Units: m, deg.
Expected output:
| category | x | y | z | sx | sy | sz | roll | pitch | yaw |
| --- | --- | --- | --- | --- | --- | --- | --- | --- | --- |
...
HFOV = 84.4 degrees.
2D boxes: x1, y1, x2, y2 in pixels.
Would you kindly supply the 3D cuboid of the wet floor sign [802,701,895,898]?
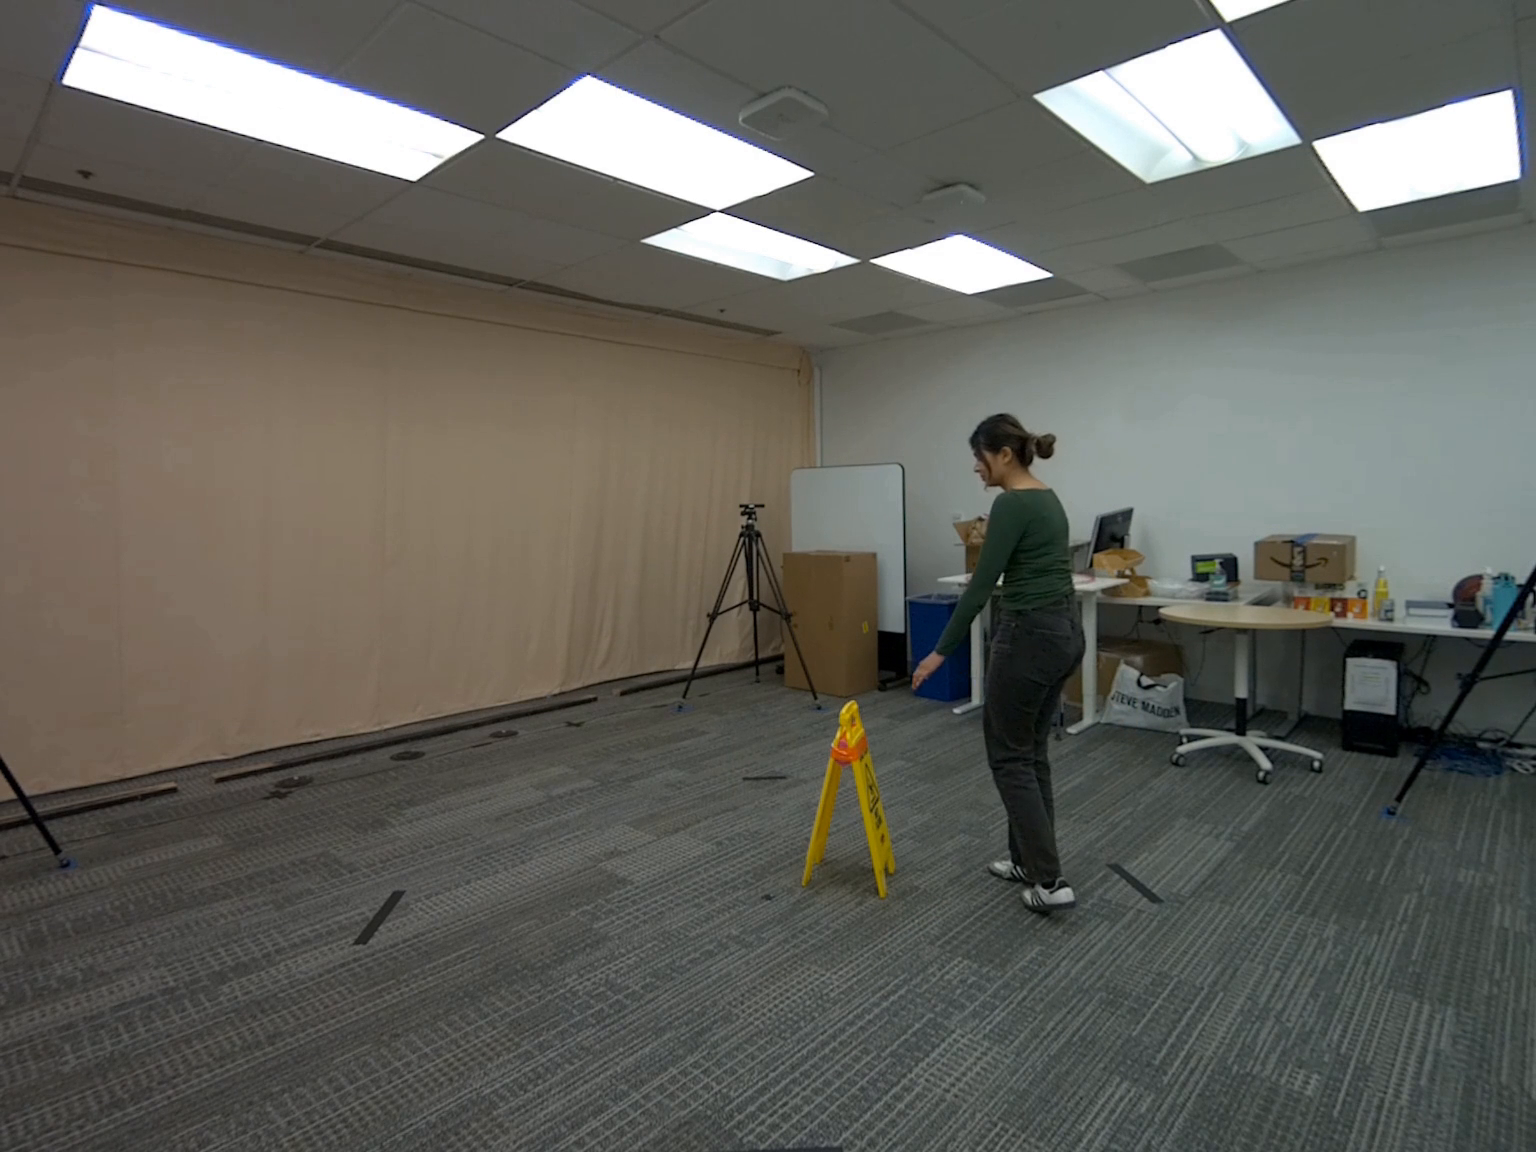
| category | x | y | z | sx | sy | sz | roll | pitch | yaw |
| --- | --- | --- | --- | --- | --- | --- | --- | --- | --- |
| wet floor sign | 0.301 | 0.801 | 3.119 | 0.296 | 0.645 | 0.277 | 0 | 2 | 19 |
